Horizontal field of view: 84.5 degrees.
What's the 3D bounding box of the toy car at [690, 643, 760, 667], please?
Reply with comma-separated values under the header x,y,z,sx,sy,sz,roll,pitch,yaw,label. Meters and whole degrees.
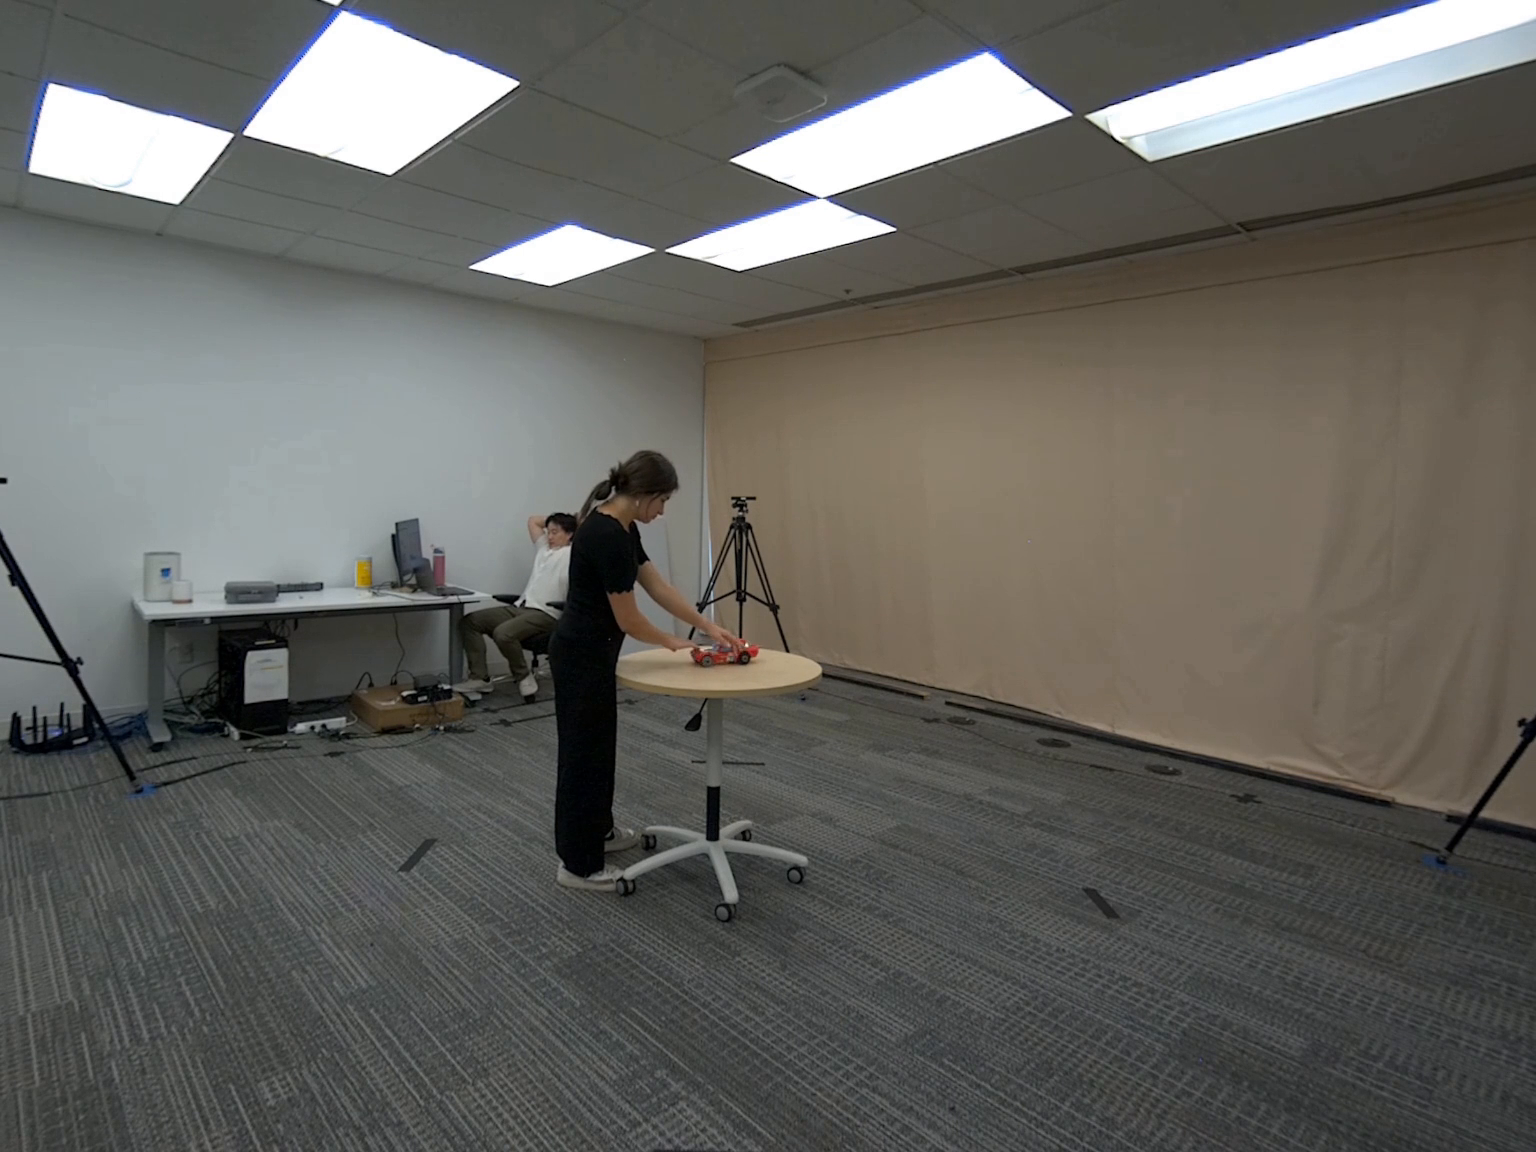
x,y,z,sx,sy,sz,roll,pitch,yaw,label
-0.158,0.290,3.098,0.252,0.082,0.133,-15,11,-20,toy car
